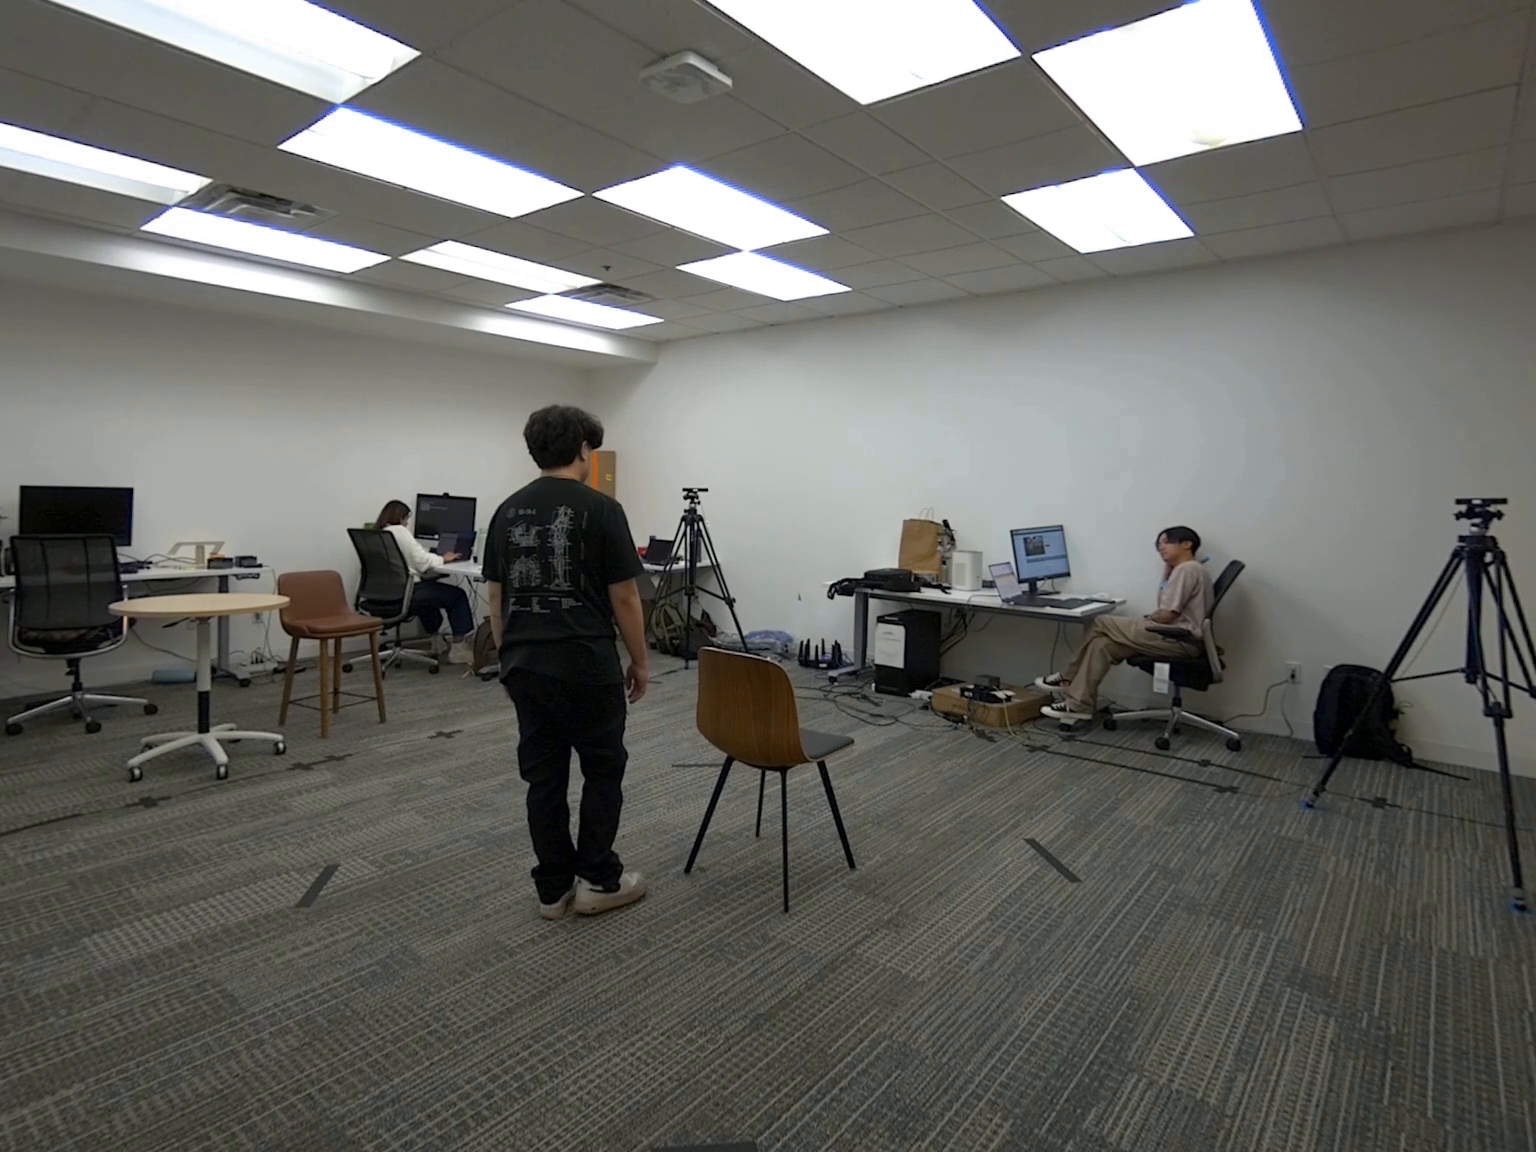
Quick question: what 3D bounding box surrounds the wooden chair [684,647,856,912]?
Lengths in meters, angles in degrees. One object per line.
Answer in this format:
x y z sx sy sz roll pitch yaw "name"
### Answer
0.015 0.648 3.093 0.494 0.872 0.510 4 8 36 "wooden chair"
